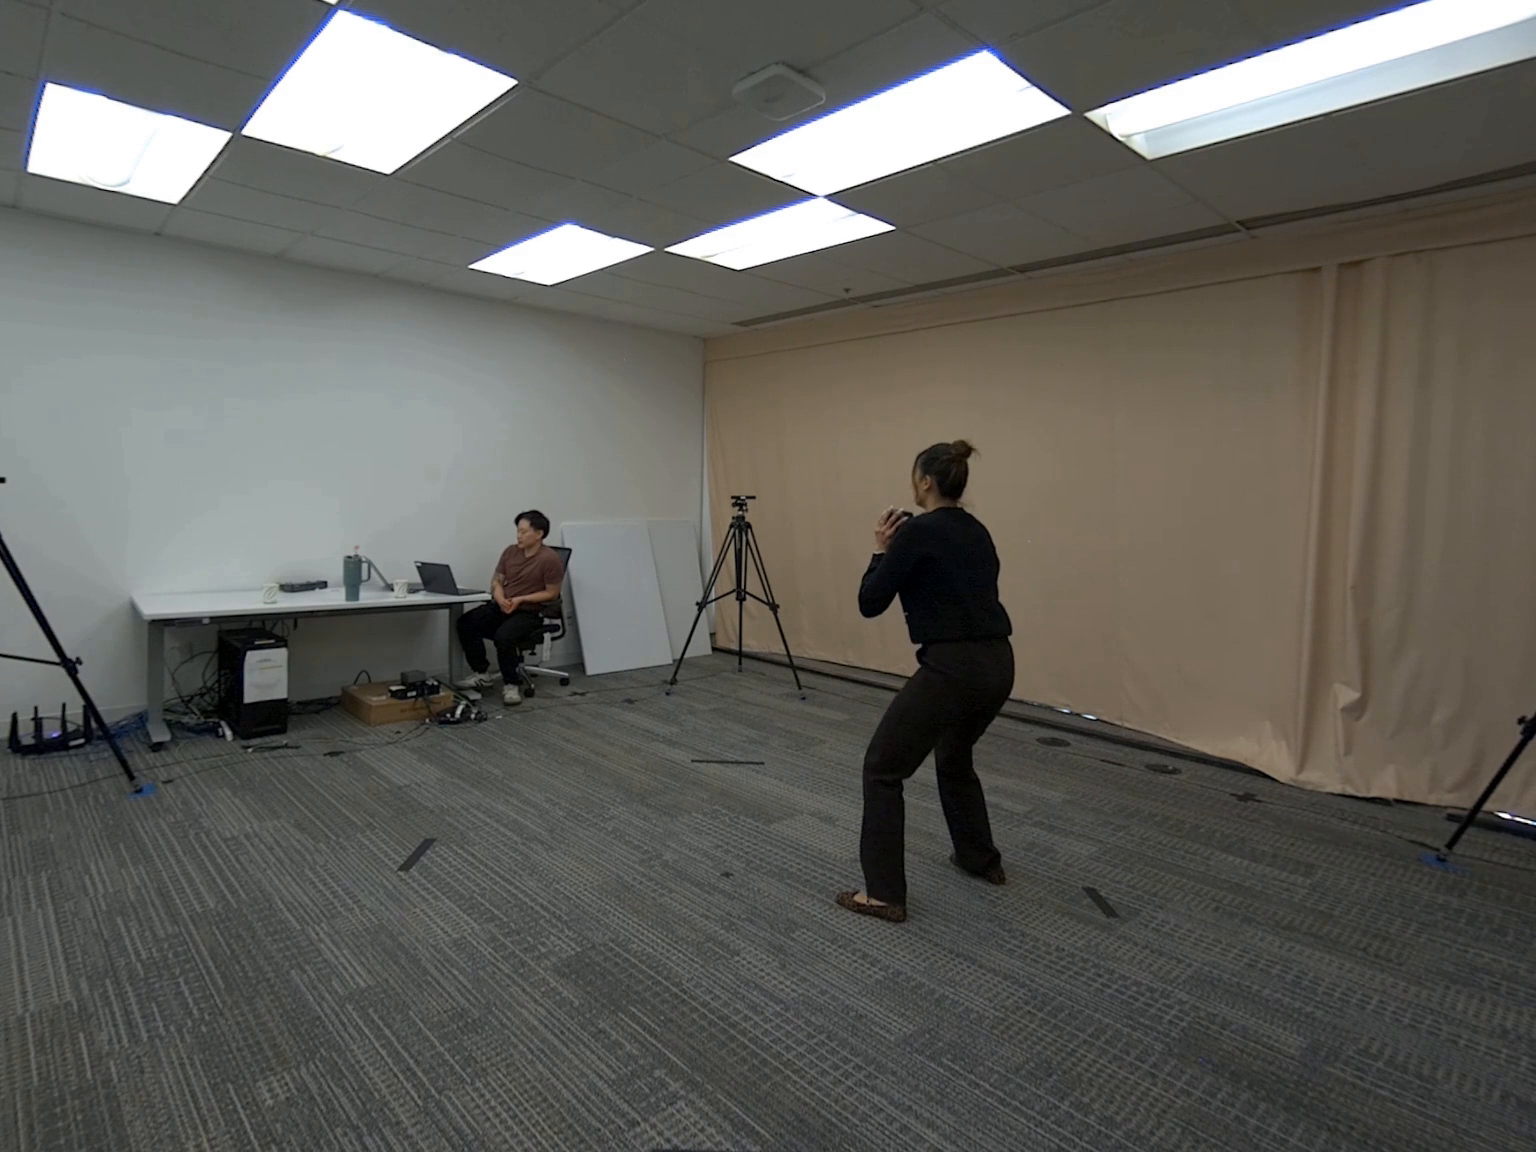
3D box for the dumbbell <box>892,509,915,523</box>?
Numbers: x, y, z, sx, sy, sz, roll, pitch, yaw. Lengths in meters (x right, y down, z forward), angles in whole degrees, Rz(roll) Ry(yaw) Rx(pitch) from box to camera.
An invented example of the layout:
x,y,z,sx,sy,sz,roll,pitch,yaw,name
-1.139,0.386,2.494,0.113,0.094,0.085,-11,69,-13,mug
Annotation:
x,y,z,sx,sy,sz,roll,pitch,yaw,name
0.553,-0.166,3.064,0.286,0.122,0.112,1,44,-45,dumbbell
